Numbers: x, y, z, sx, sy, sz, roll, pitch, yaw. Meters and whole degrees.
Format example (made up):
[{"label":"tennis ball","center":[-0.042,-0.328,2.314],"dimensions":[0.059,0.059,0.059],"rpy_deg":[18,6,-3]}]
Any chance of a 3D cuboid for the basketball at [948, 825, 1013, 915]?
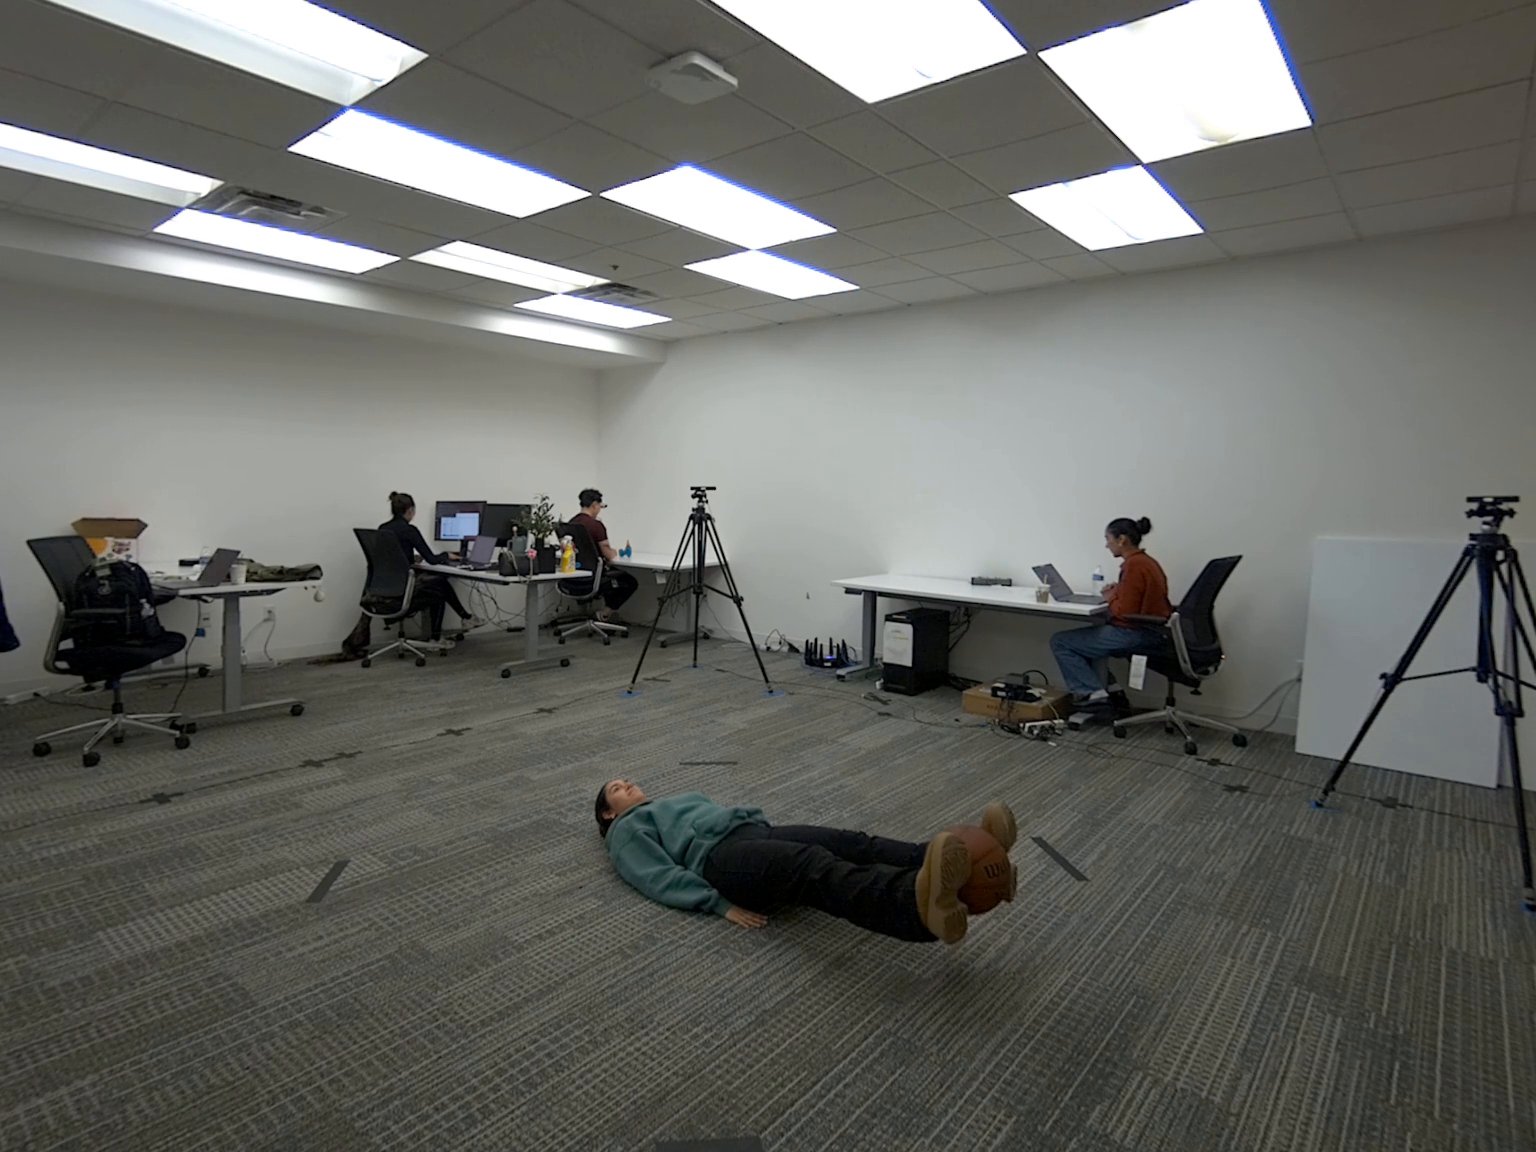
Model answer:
[{"label":"basketball","center":[0.552,0.815,2.383],"dimensions":[0.236,0.235,0.237],"rpy_deg":[0,4,-2]}]
